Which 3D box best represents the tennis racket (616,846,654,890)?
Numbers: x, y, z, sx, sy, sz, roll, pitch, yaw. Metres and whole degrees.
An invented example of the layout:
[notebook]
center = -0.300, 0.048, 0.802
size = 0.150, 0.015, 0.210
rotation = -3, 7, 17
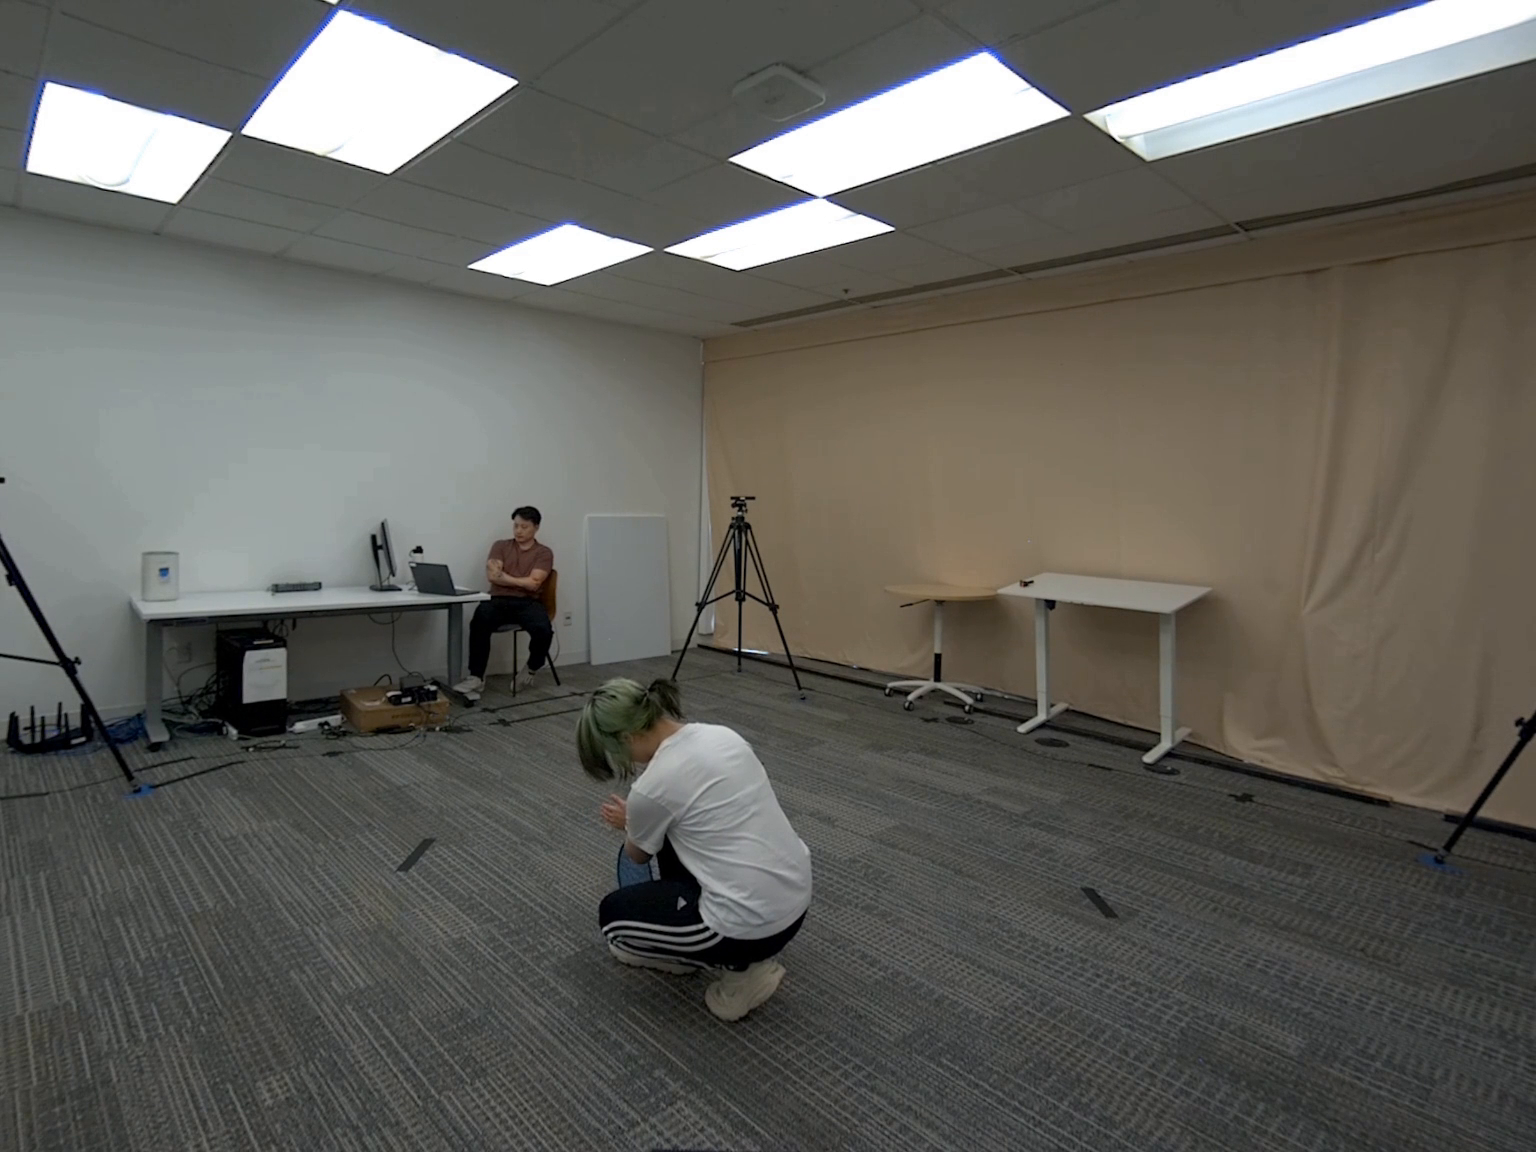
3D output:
[tennis racket]
center = -0.436, 0.920, 2.734
size = 0.031, 0.429, 0.220
rotation = -6, 16, -41
